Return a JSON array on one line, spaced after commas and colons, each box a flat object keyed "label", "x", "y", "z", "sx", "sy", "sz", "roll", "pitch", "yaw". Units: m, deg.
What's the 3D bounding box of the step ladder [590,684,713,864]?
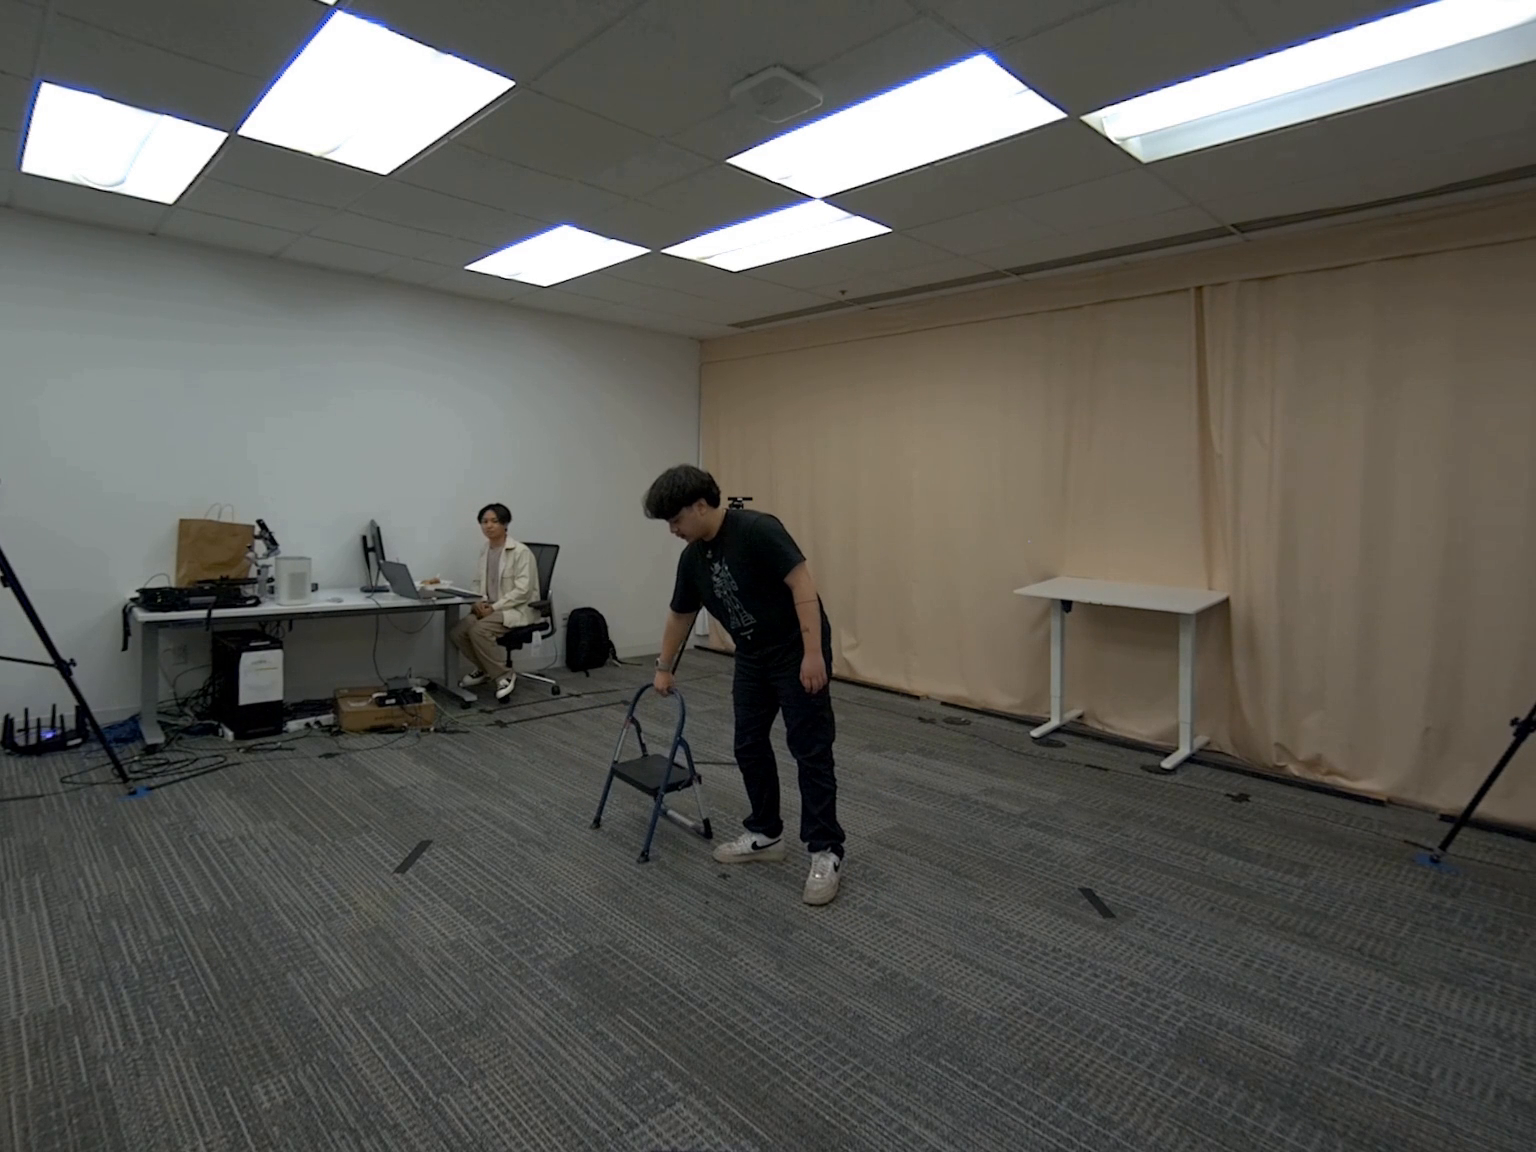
[{"label": "step ladder", "x": -0.498, "y": 0.760, "z": 3.441, "sx": 0.342, "sy": 0.604, "sz": 0.441, "roll": -4, "pitch": 6, "yaw": -38}]
